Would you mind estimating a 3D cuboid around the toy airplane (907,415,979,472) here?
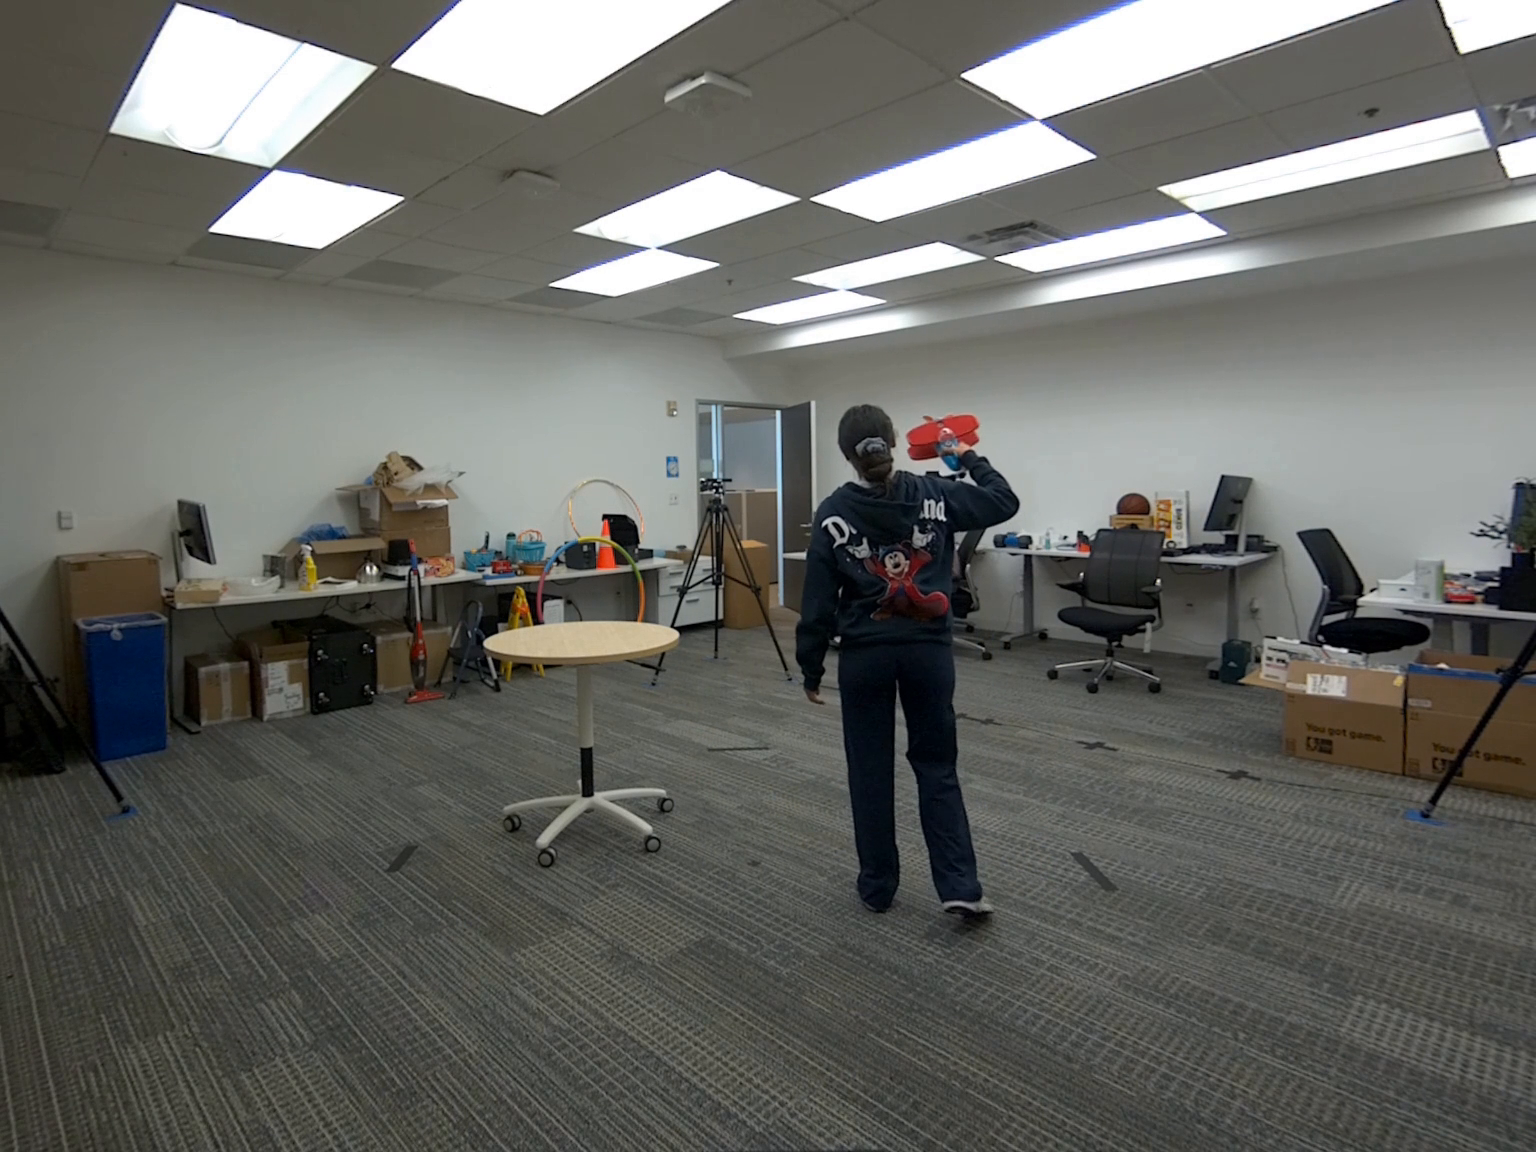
[{"bbox_3d":[0.656,-0.460,3.044,0.249,0.151,0.269,-32,40,-18],"label":"toy airplane"}]
